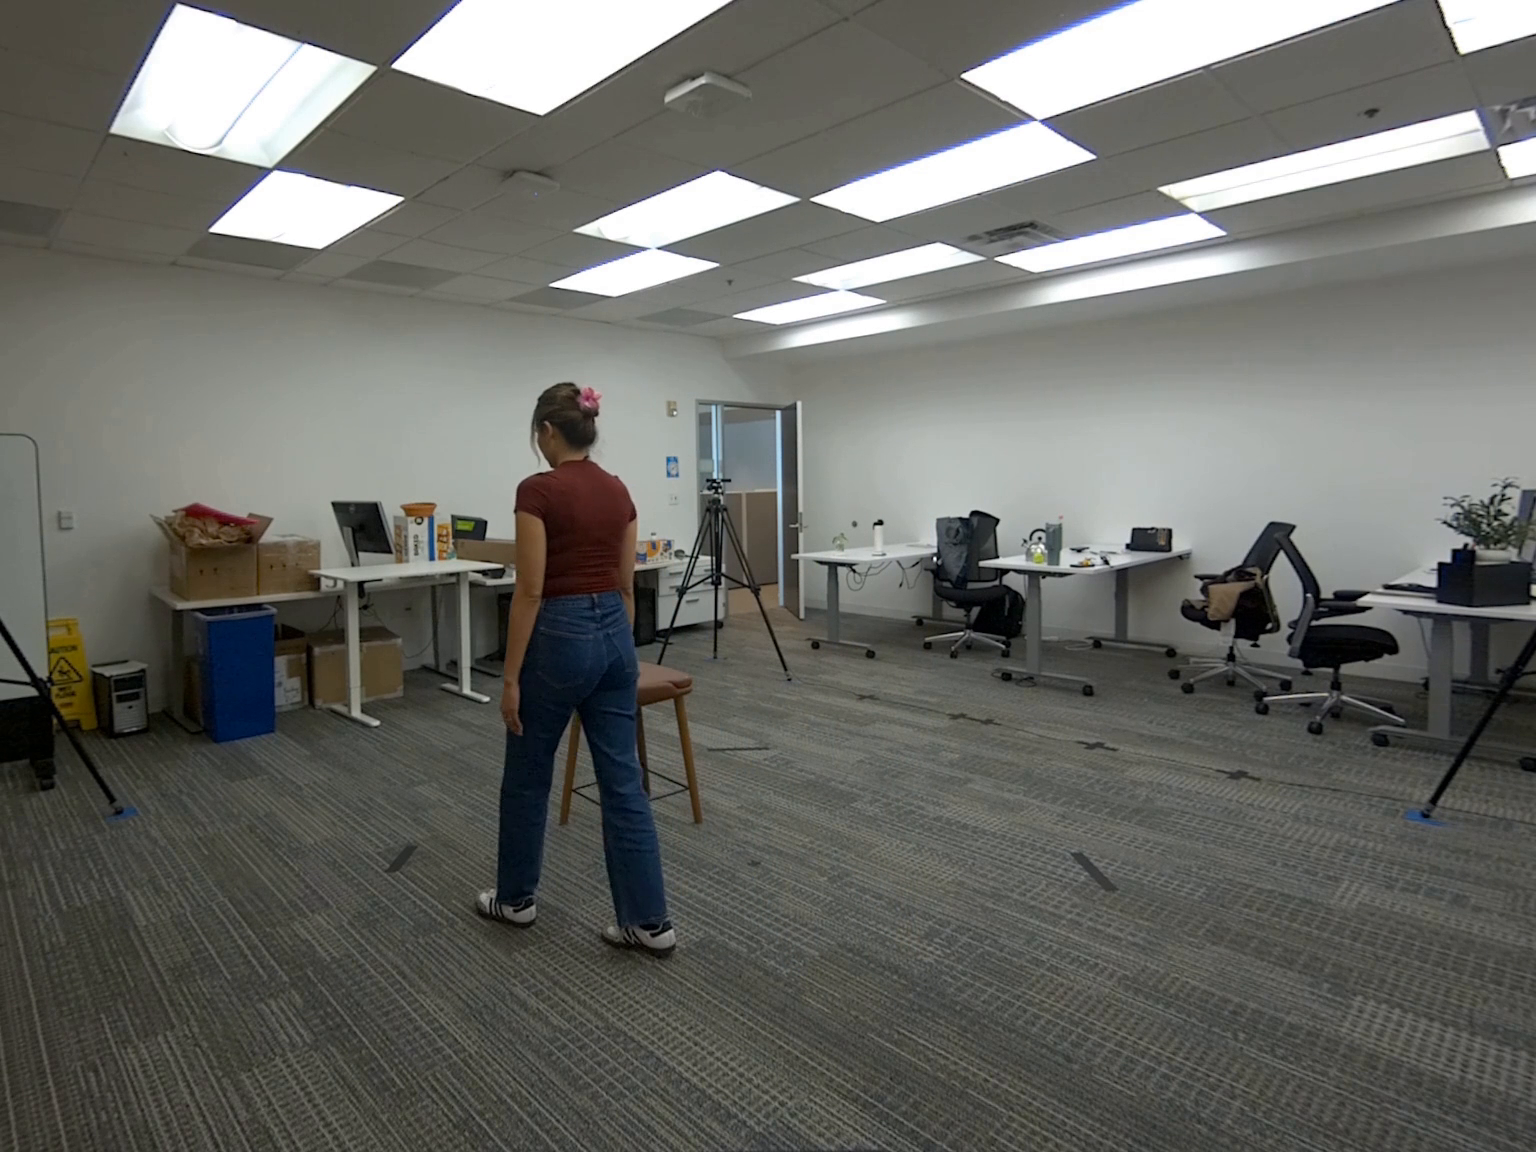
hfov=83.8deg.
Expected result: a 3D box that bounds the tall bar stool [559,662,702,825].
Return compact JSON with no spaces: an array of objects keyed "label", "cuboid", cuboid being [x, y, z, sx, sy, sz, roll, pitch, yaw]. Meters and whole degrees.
[{"label":"tall bar stool","cuboid":[-0.582,0.578,3.475,0.456,0.886,0.470,-6,6,-41]}]
